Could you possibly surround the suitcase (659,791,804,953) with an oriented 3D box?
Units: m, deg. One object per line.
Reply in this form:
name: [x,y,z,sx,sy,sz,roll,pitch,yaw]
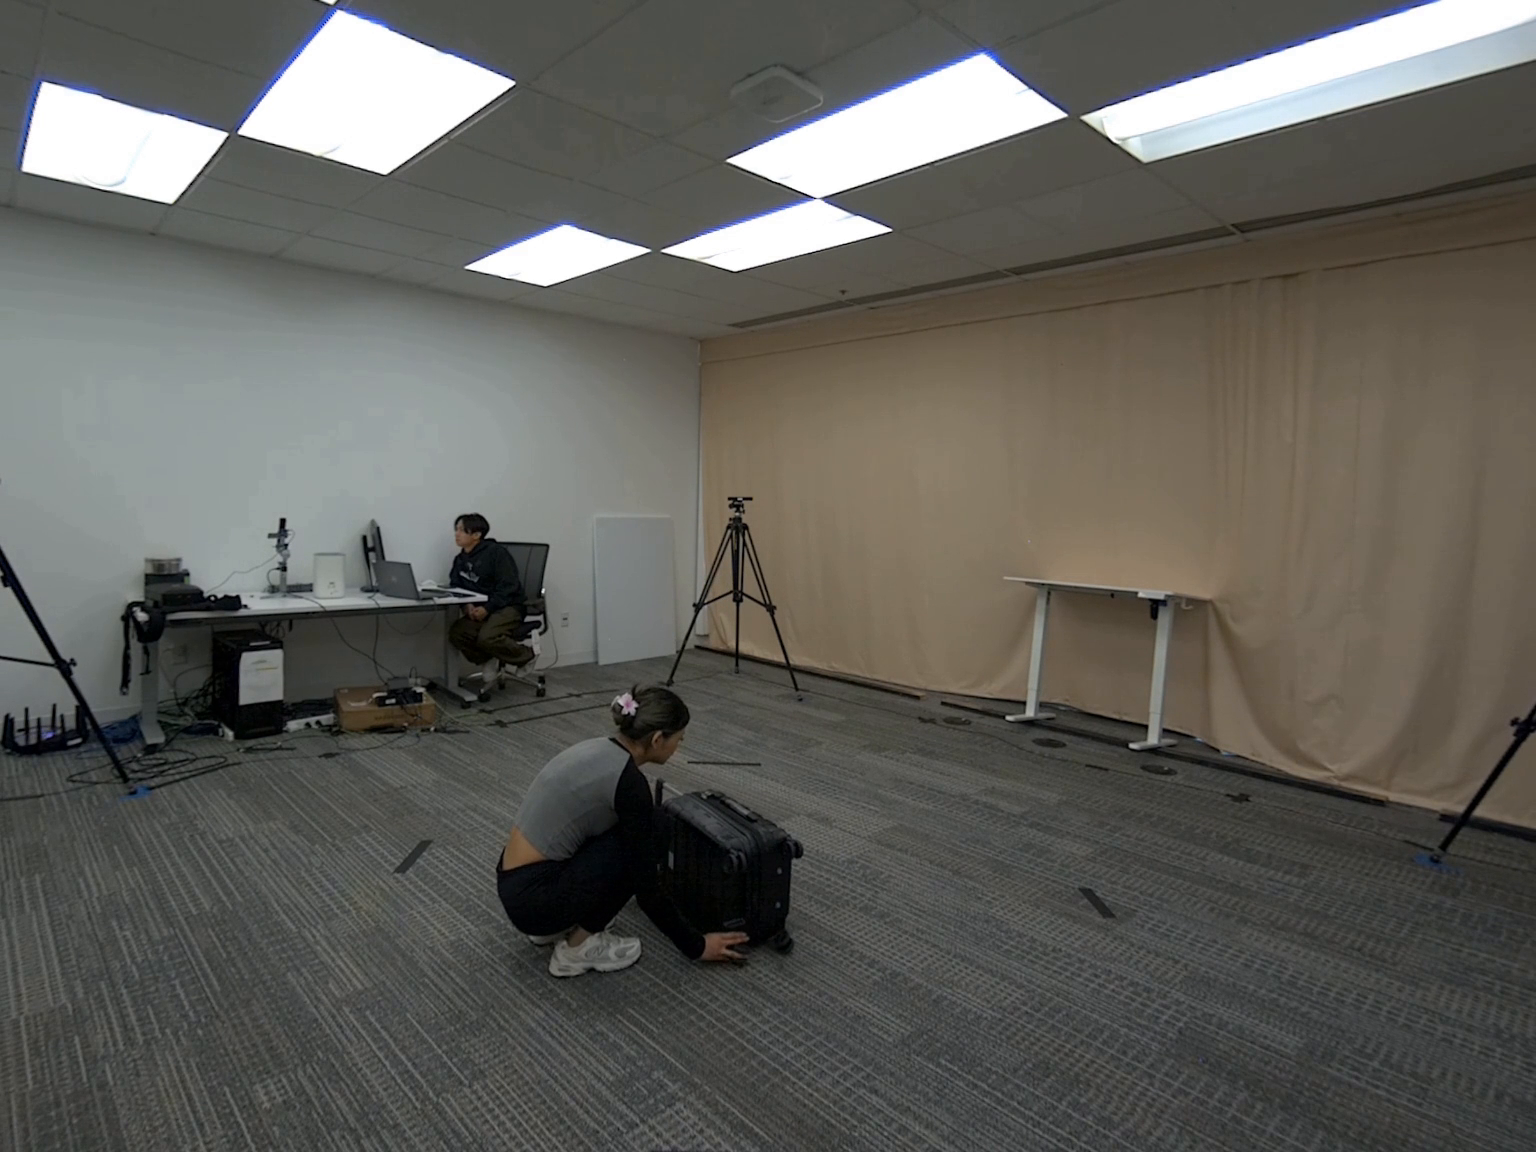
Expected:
suitcase: [-0.265,0.932,2.940,0.251,0.383,1.002,2,4,-33]
